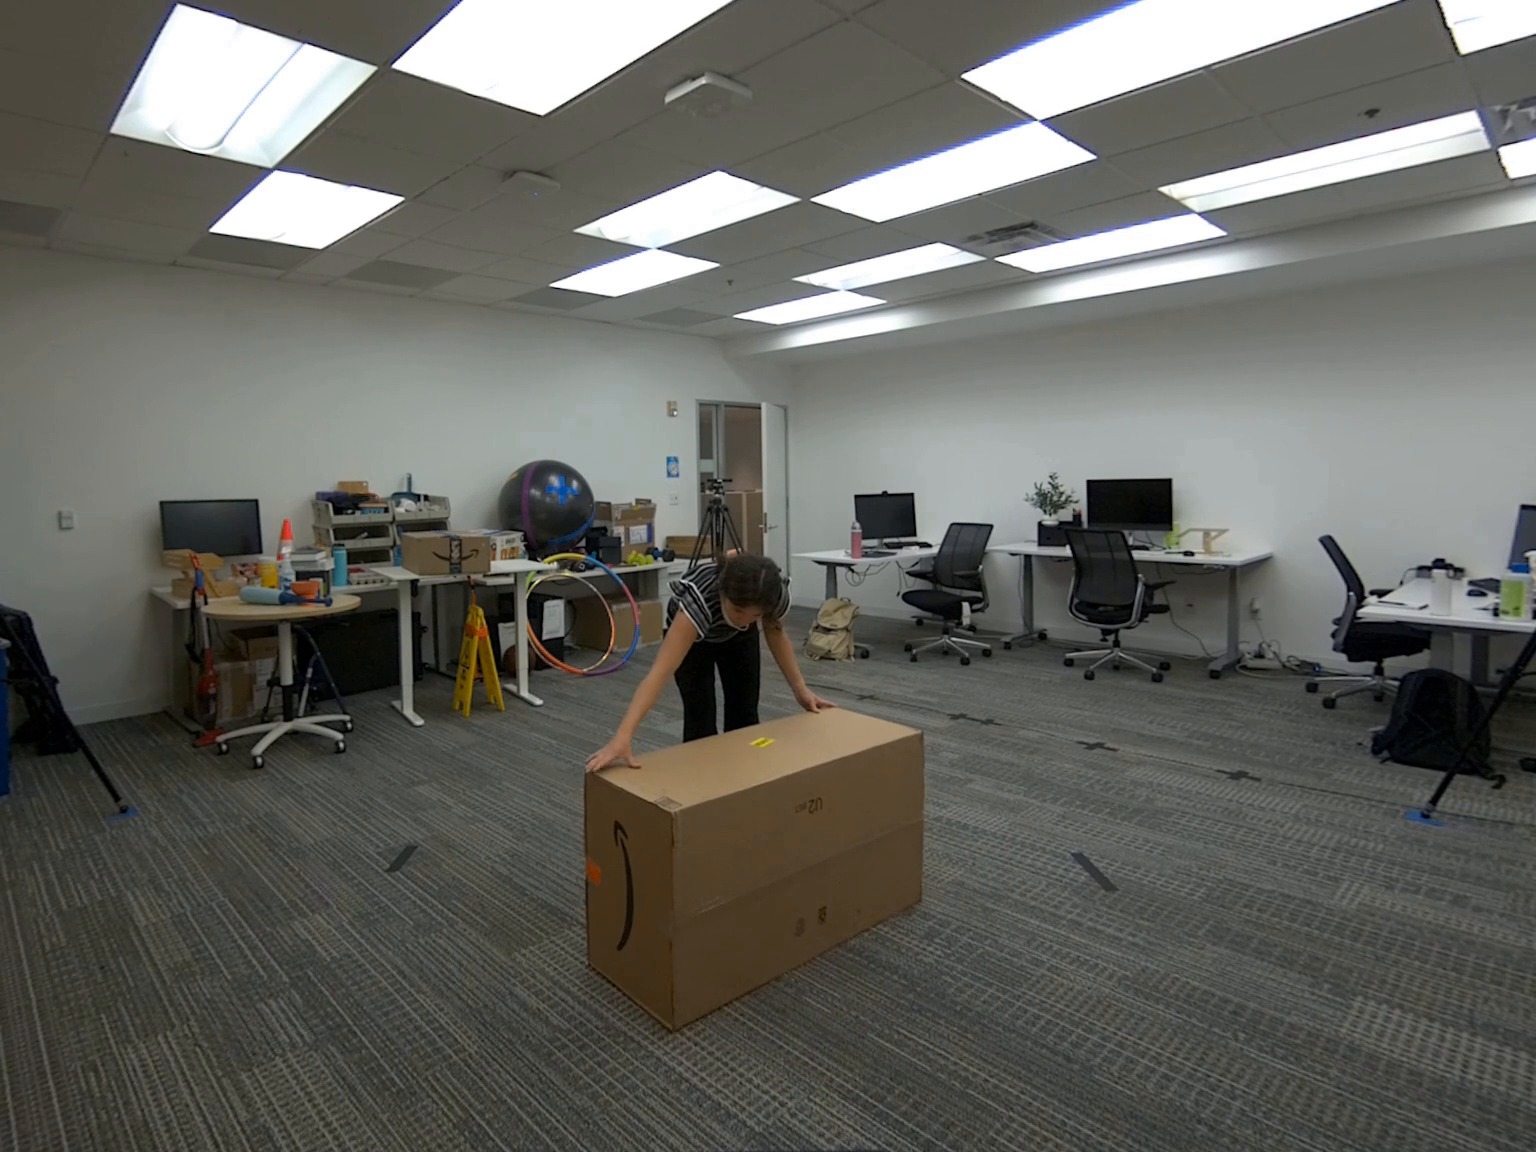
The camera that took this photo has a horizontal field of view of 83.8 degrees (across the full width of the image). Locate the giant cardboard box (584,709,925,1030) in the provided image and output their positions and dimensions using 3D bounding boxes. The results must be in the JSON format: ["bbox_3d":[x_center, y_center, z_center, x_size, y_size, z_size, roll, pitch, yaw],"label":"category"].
[{"bbox_3d":[-0.011,0.811,2.622,0.999,0.575,0.439,-5,6,-40],"label":"giant cardboard box"}]
